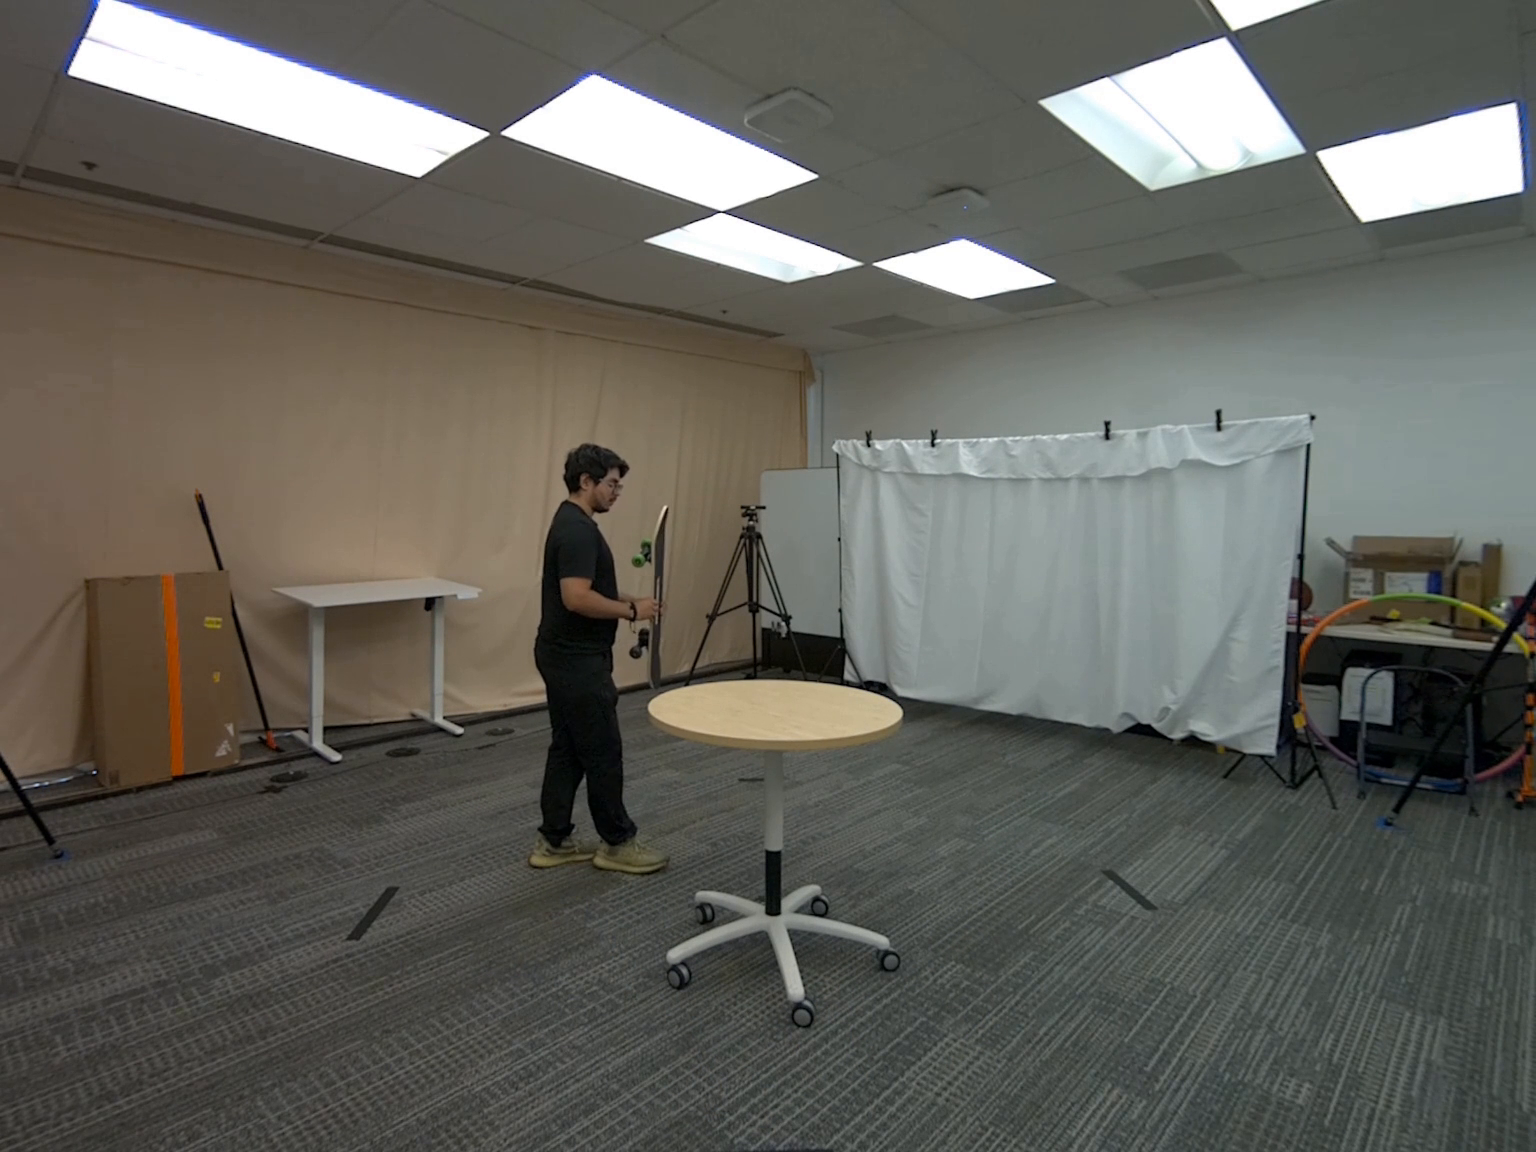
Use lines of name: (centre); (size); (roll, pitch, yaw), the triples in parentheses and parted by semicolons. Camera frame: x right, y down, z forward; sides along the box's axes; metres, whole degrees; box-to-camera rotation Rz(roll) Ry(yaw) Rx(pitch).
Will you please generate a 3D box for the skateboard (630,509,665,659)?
skateboard: (-0.472, 0.097, 3.315); (0.111, 0.776, 0.195); (6, 23, 1)
